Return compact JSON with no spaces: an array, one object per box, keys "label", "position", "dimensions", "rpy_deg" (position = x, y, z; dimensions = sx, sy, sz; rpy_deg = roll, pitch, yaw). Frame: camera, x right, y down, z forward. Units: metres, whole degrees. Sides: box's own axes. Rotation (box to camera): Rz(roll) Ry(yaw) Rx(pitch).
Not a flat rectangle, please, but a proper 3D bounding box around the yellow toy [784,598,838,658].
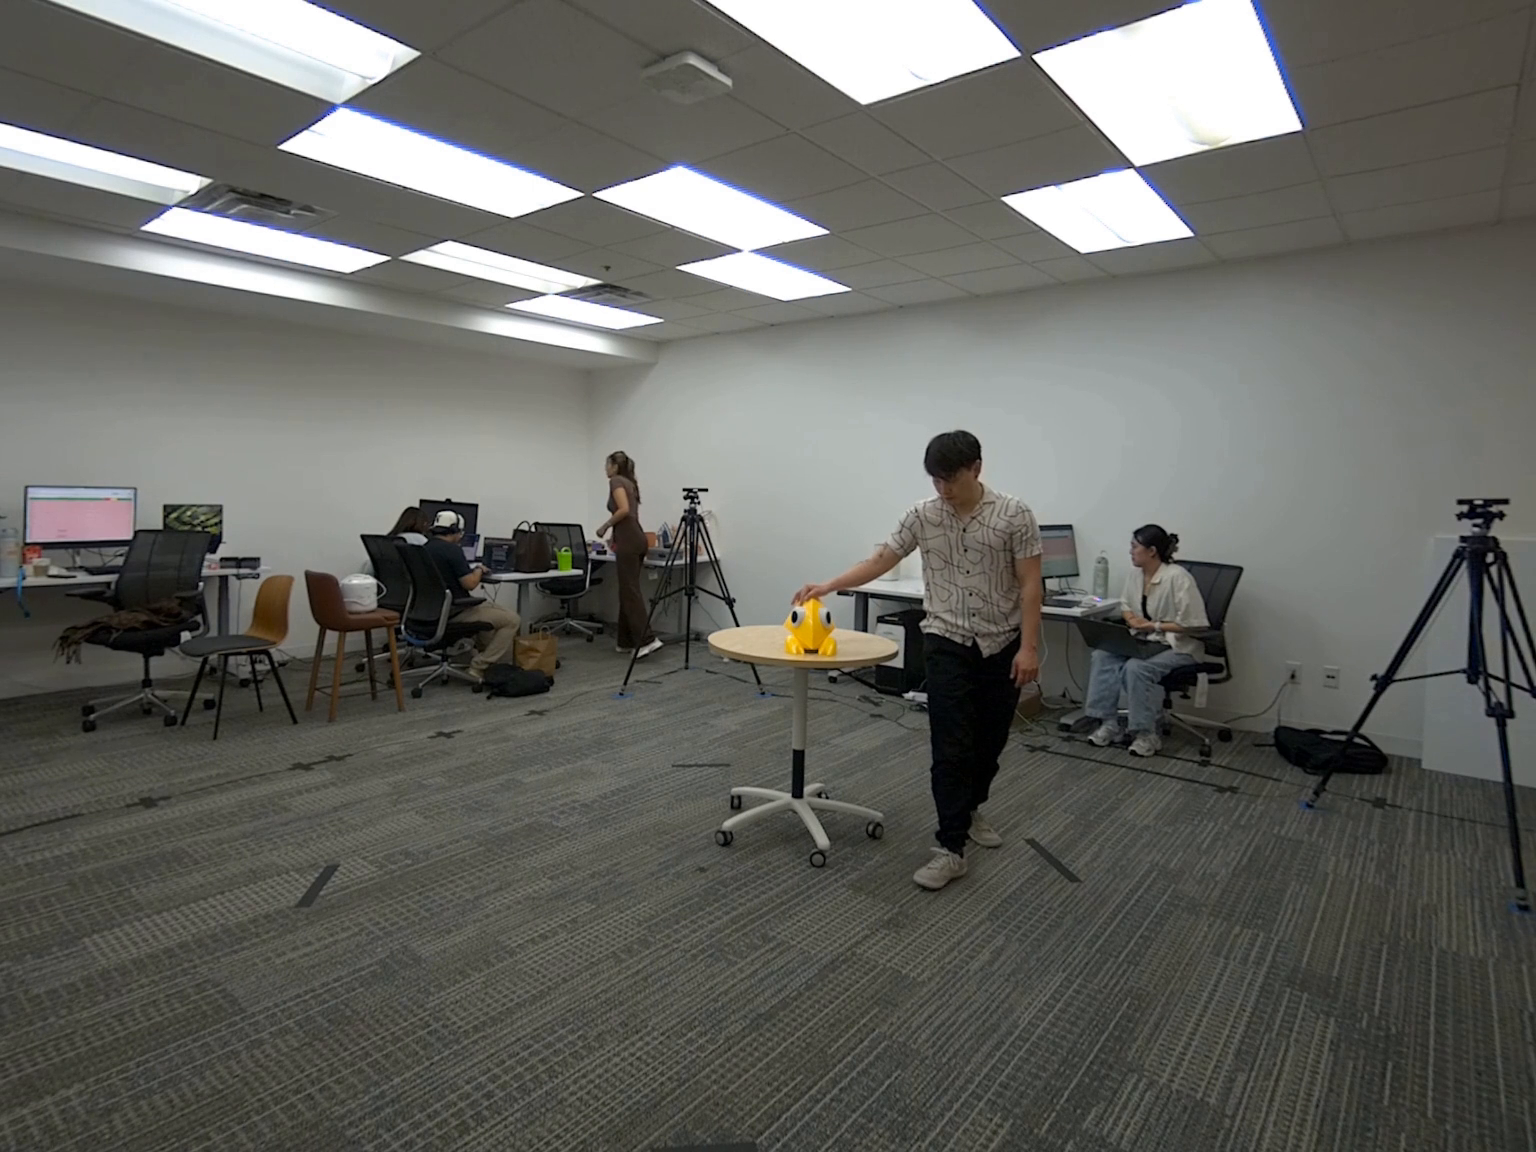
[{"label":"yellow toy","position":[0.156,0.168,3.258],"dimensions":[0.205,0.230,0.194],"rpy_deg":[1,4,0]}]
